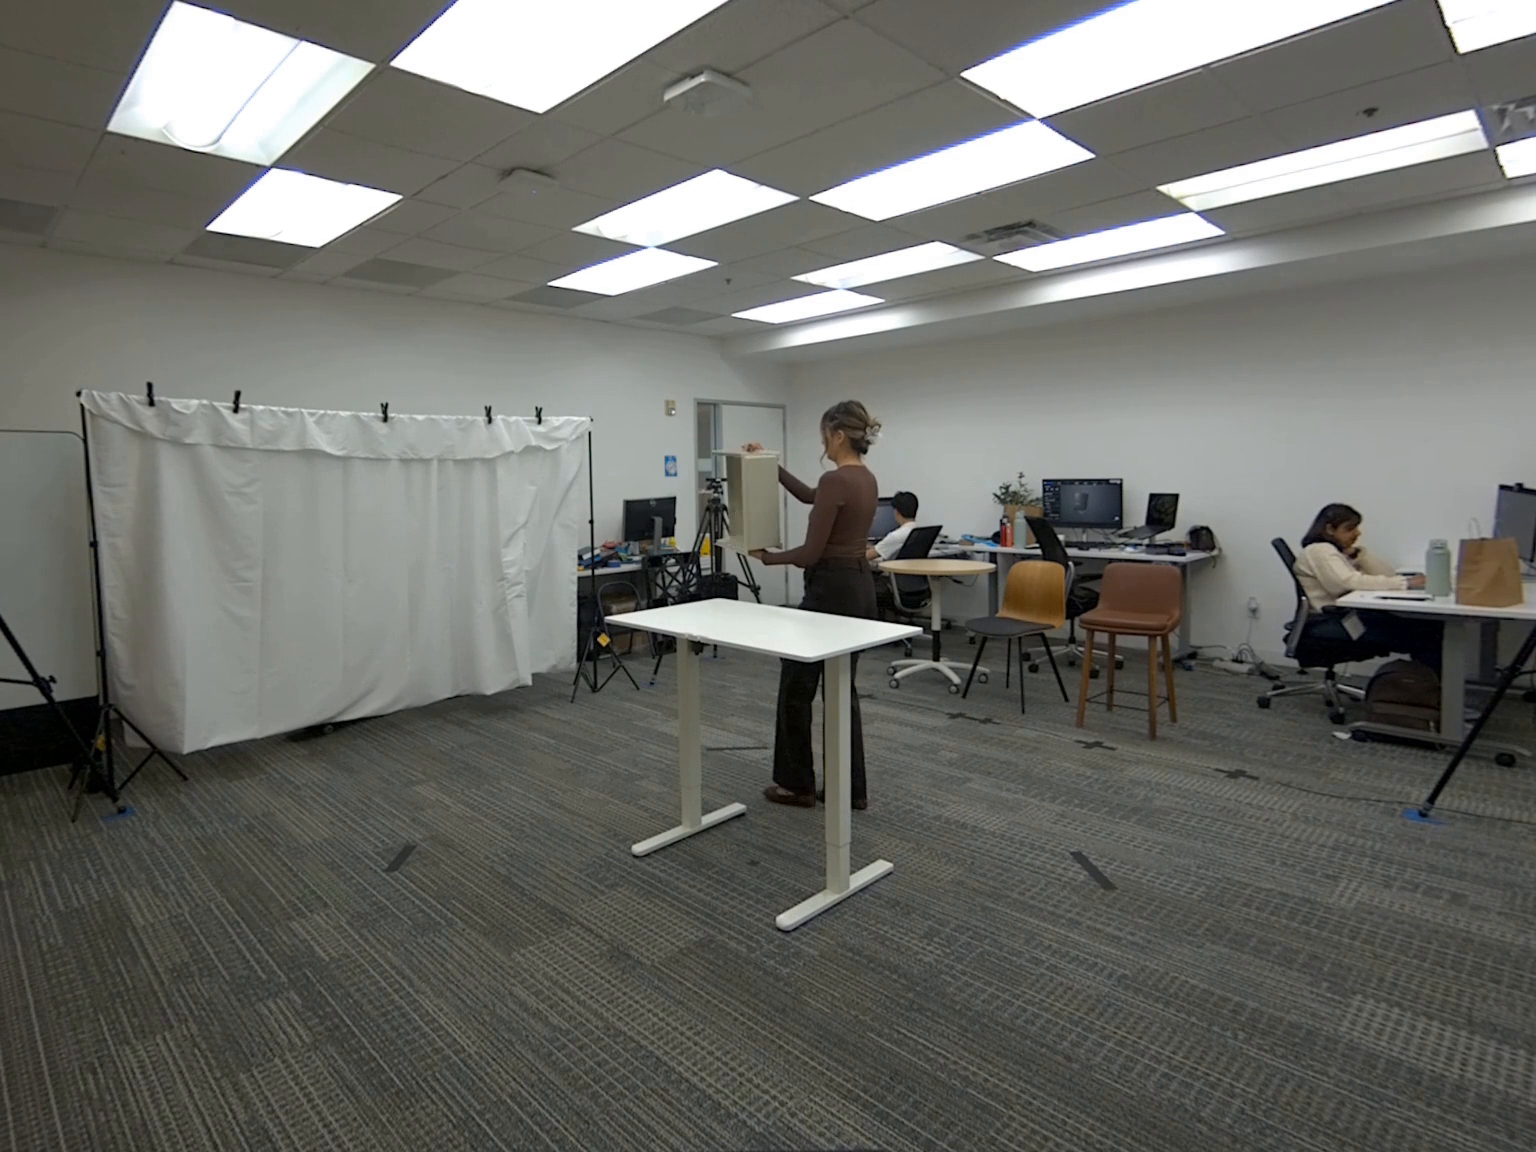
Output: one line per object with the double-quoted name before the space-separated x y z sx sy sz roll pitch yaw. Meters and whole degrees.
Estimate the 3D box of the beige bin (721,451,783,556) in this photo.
"beige bin" -0.109 -0.333 3.714 0.185 0.419 0.388 -5 10 -26
